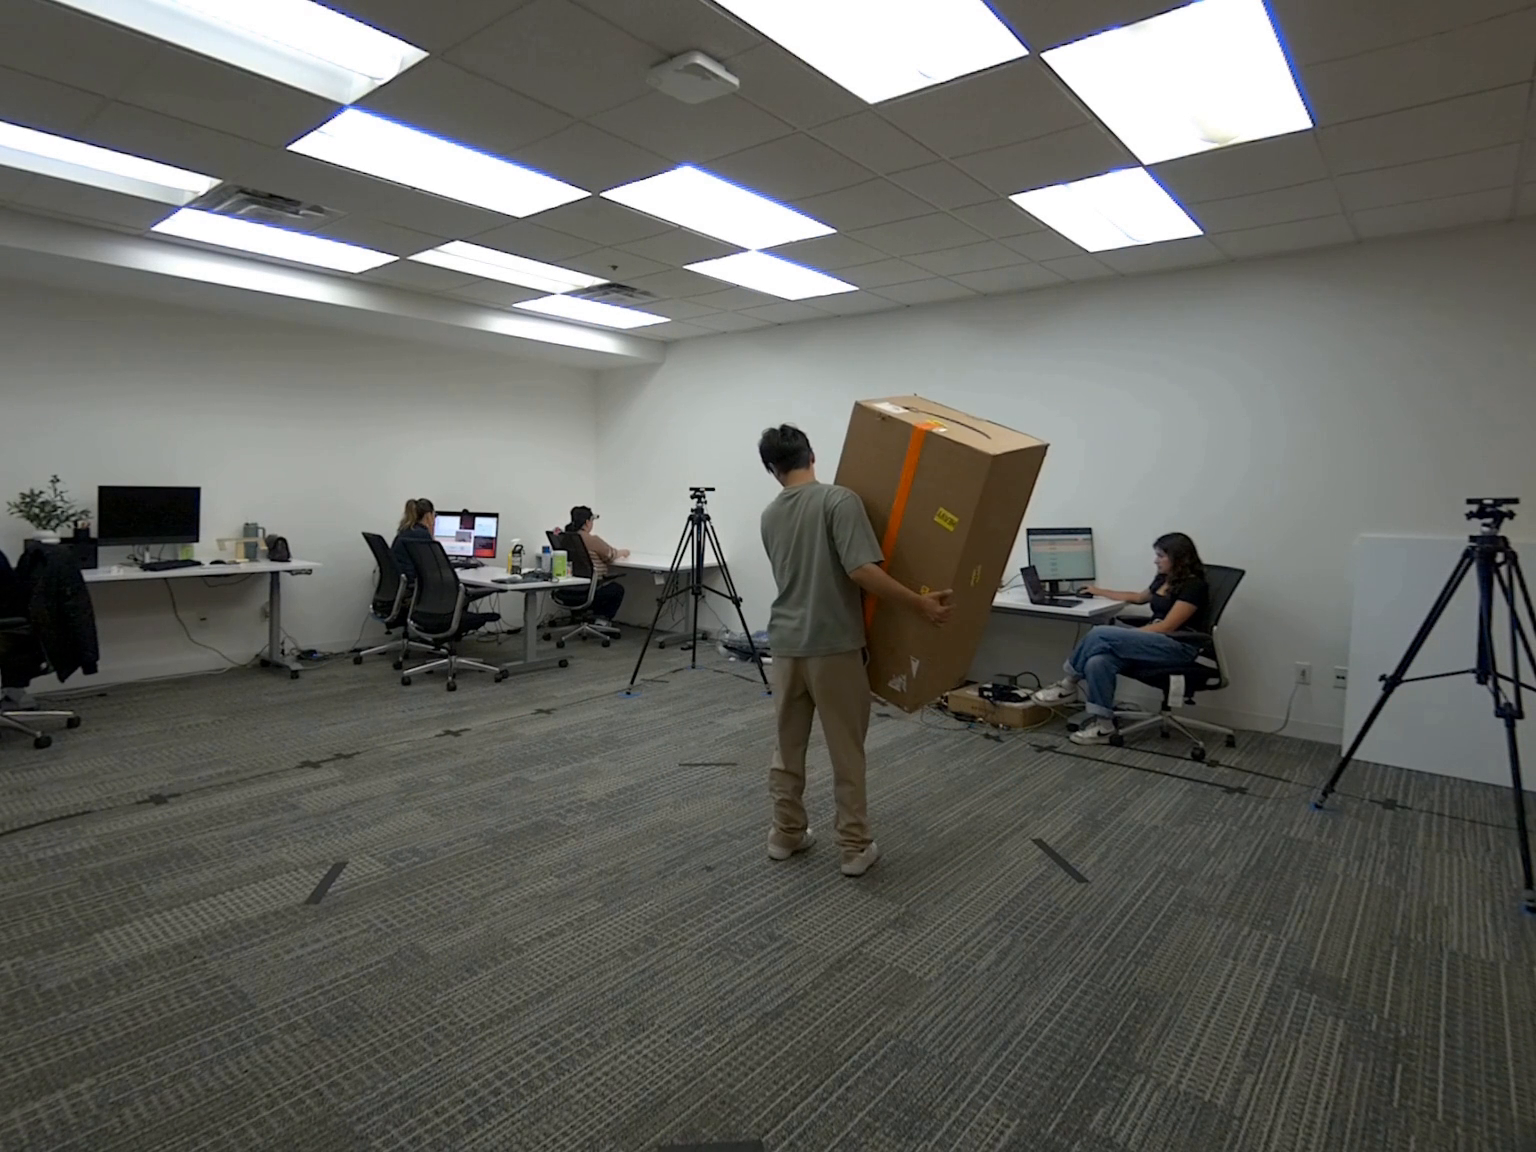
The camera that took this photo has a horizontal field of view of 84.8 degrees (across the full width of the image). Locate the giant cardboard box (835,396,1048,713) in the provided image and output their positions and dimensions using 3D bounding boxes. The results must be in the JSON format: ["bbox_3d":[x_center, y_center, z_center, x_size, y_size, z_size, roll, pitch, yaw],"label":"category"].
[{"bbox_3d":[0.543,-0.095,3.243,0.601,1.010,0.416,31,29,35],"label":"giant cardboard box"}]
